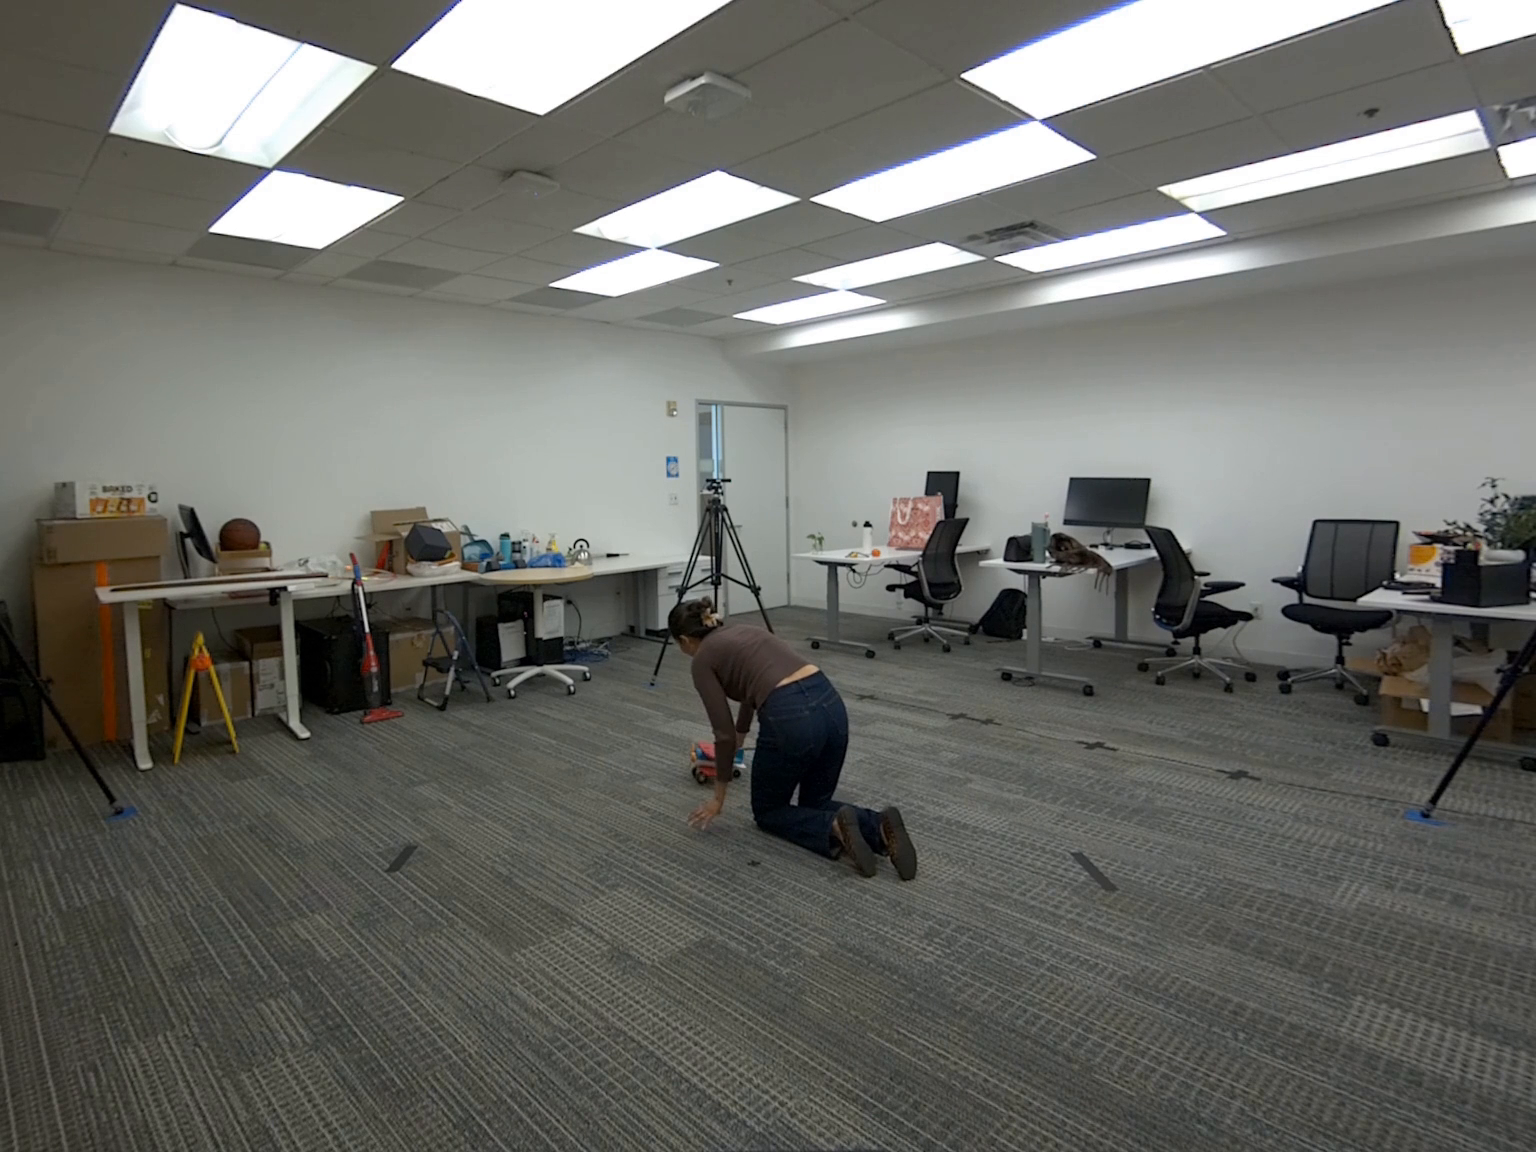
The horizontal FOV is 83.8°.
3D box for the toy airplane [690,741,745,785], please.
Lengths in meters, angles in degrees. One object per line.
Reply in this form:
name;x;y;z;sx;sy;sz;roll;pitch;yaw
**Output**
toy airplane;-0.245;0.874;4.020;0.252;0.156;0.259;-6;7;-44
